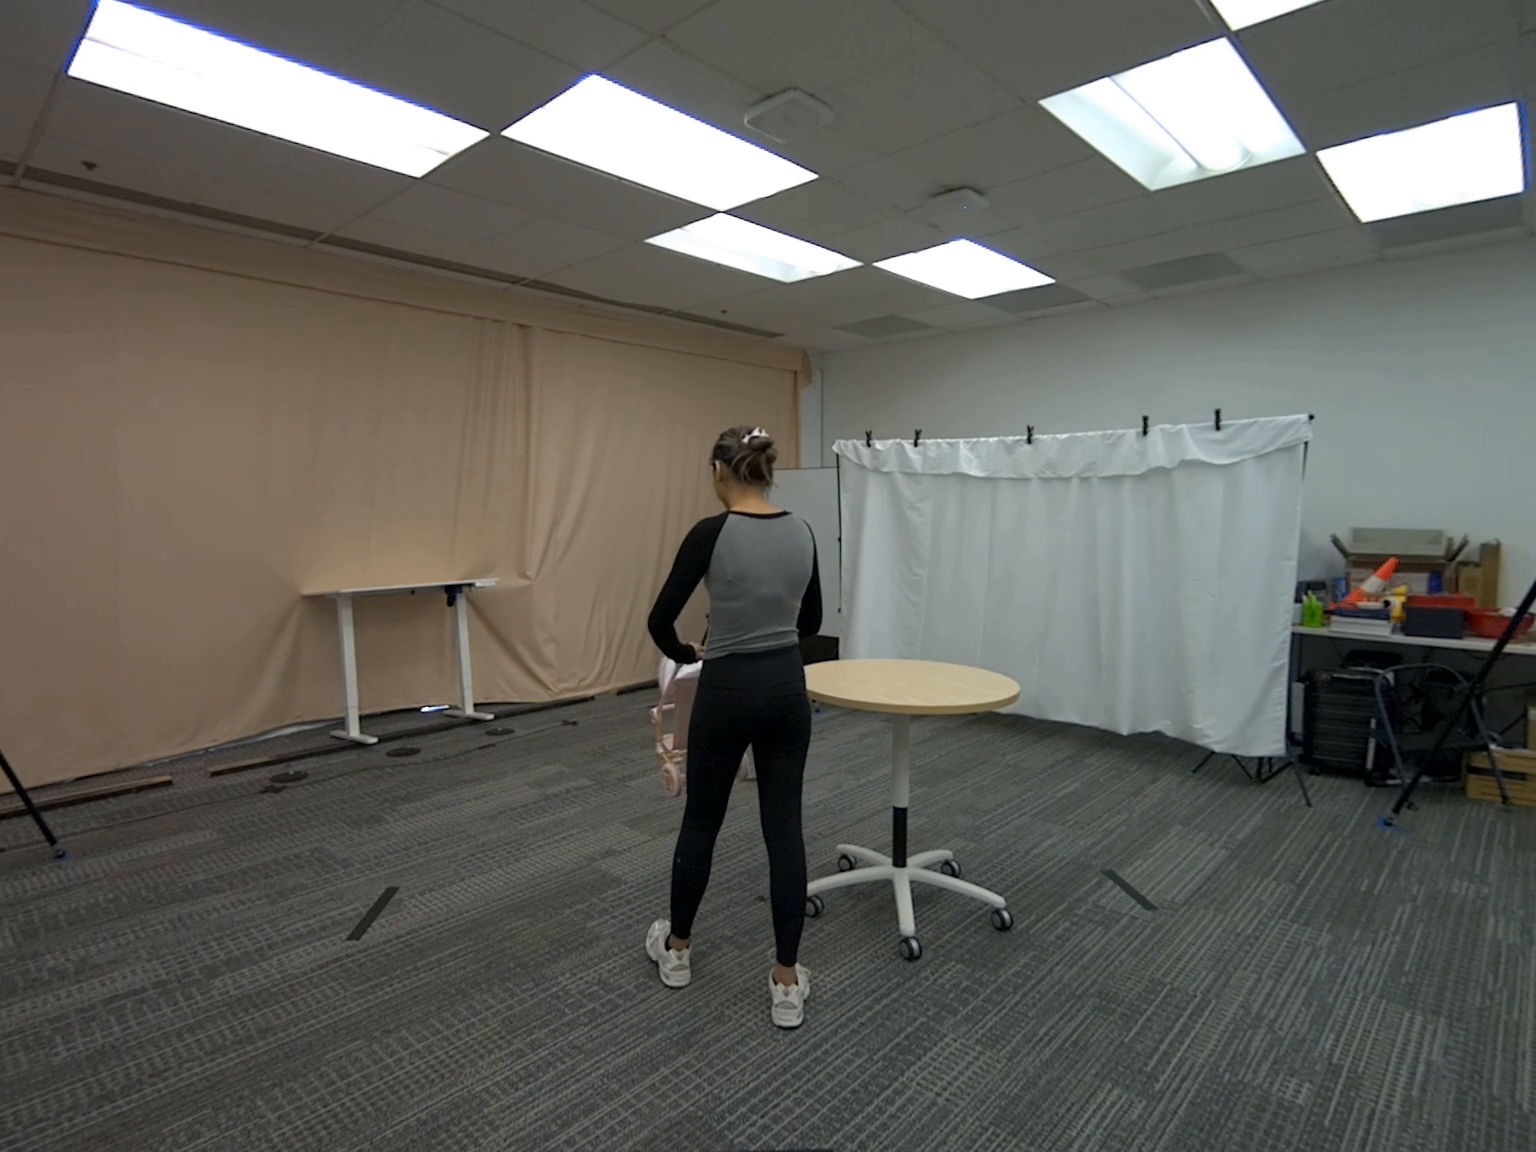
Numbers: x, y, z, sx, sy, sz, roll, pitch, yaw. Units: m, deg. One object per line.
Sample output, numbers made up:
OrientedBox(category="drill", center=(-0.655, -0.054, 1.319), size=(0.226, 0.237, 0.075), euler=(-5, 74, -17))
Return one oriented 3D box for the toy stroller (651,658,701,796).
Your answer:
OrientedBox(category="toy stroller", center=(-0.255, 0.467, 2.807), size=(0.275, 0.532, 0.351), euler=(-4, 9, -24))
